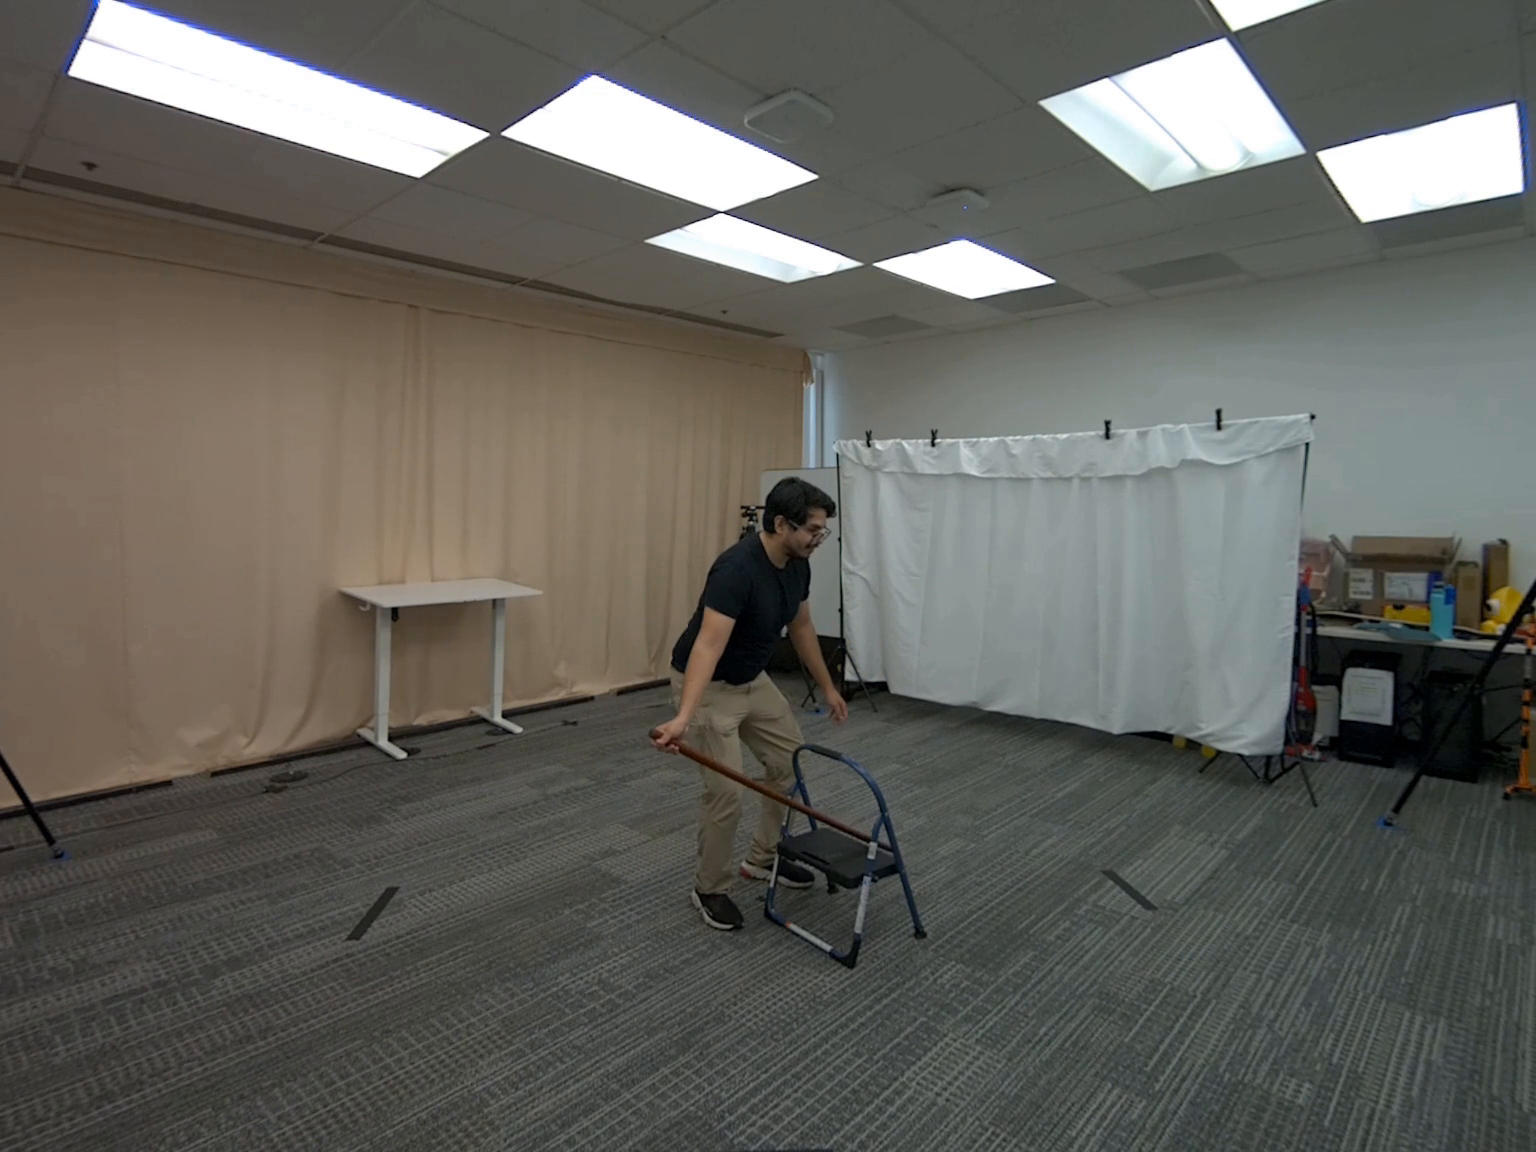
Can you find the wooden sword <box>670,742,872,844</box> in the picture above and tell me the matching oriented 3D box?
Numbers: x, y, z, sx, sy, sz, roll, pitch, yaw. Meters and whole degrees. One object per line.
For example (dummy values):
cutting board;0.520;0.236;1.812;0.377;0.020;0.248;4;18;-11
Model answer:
wooden sword;0.050;0.690;2.622;0.996;0.024;0.052;31;-45;-25
